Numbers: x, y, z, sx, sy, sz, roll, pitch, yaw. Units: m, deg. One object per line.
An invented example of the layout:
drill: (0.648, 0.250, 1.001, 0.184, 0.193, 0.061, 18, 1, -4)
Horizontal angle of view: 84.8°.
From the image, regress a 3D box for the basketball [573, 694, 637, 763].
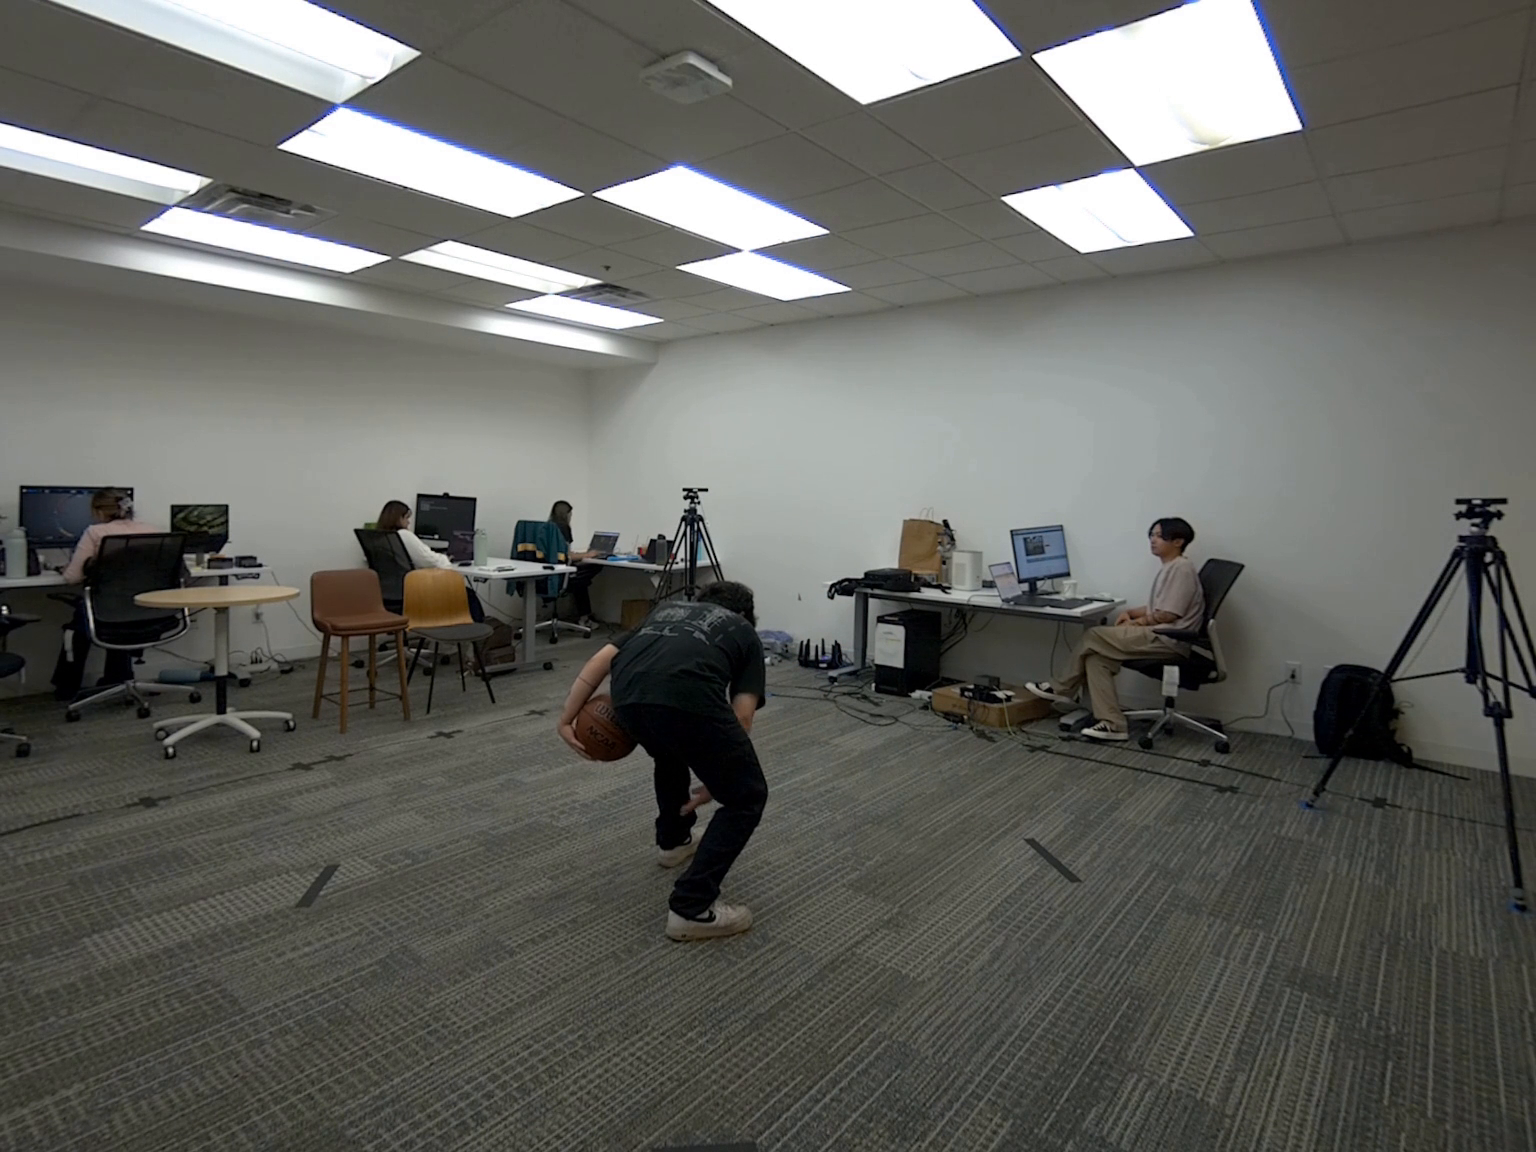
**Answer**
basketball: (-0.578, 0.538, 3.041, 0.235, 0.235, 0.237, 1, 4, -2)
